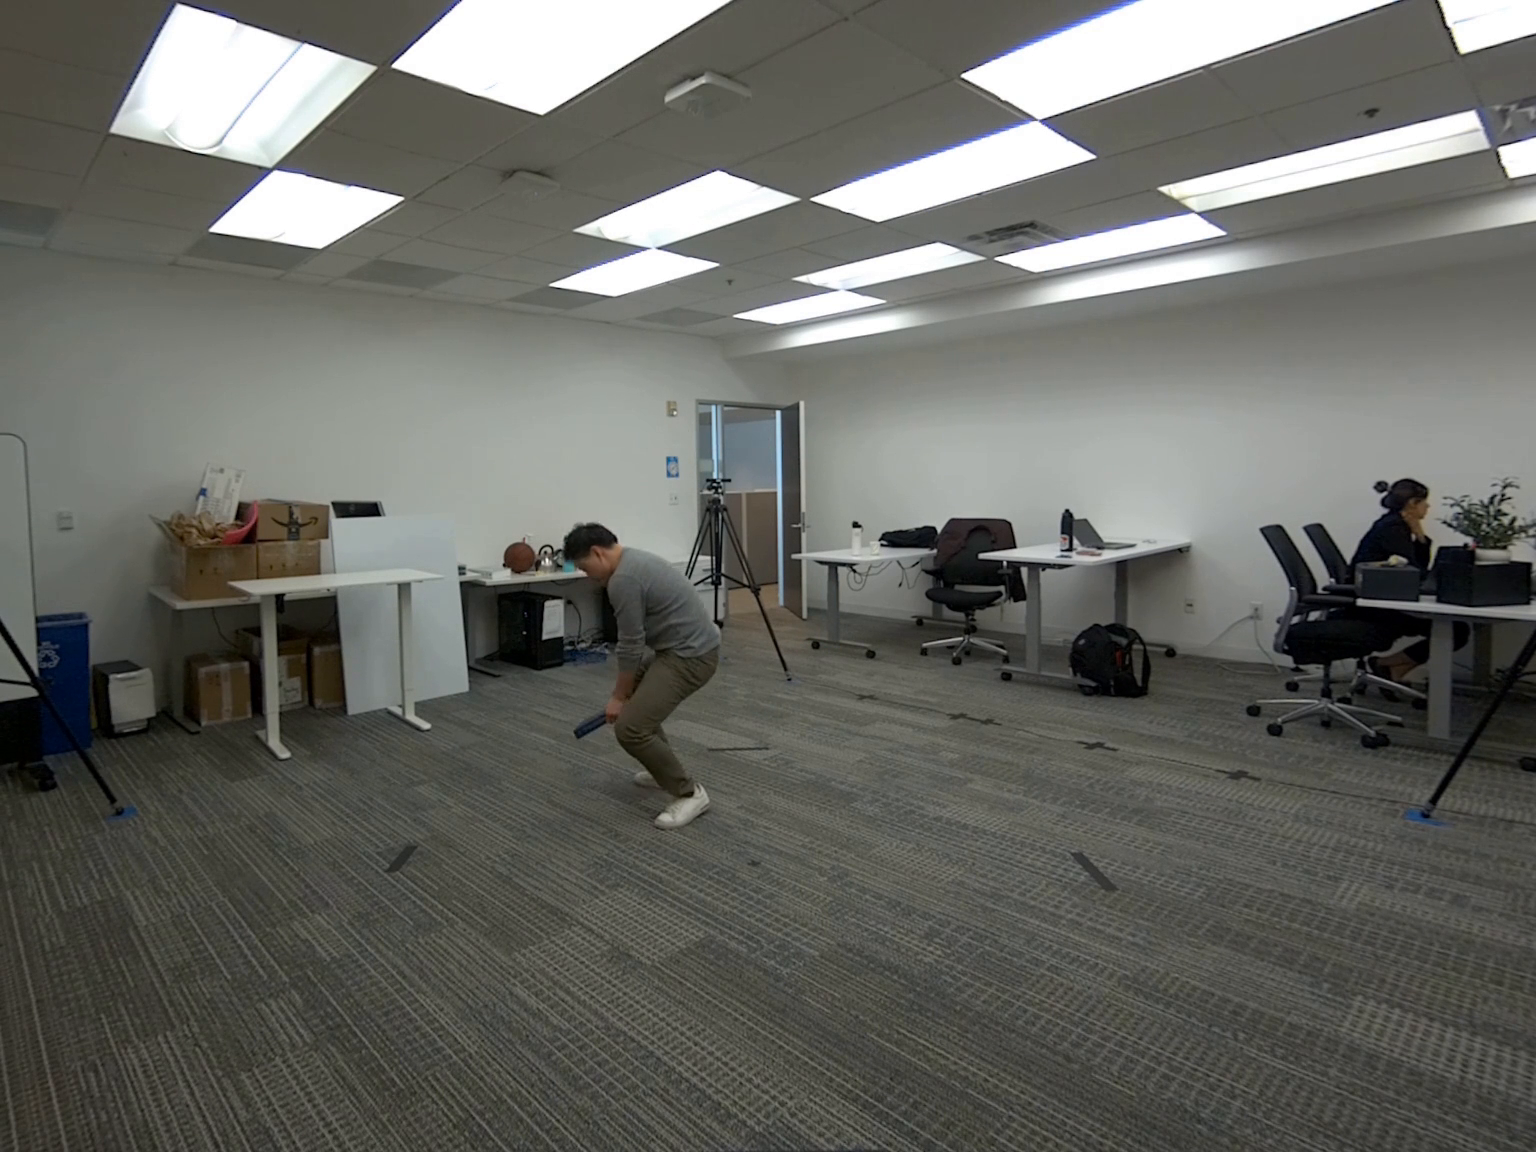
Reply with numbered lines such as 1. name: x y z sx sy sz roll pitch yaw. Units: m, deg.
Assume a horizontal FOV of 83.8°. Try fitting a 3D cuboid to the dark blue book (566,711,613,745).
1. dark blue book: -0.743 0.640 3.739 0.245 0.045 0.164 -25 5 3
